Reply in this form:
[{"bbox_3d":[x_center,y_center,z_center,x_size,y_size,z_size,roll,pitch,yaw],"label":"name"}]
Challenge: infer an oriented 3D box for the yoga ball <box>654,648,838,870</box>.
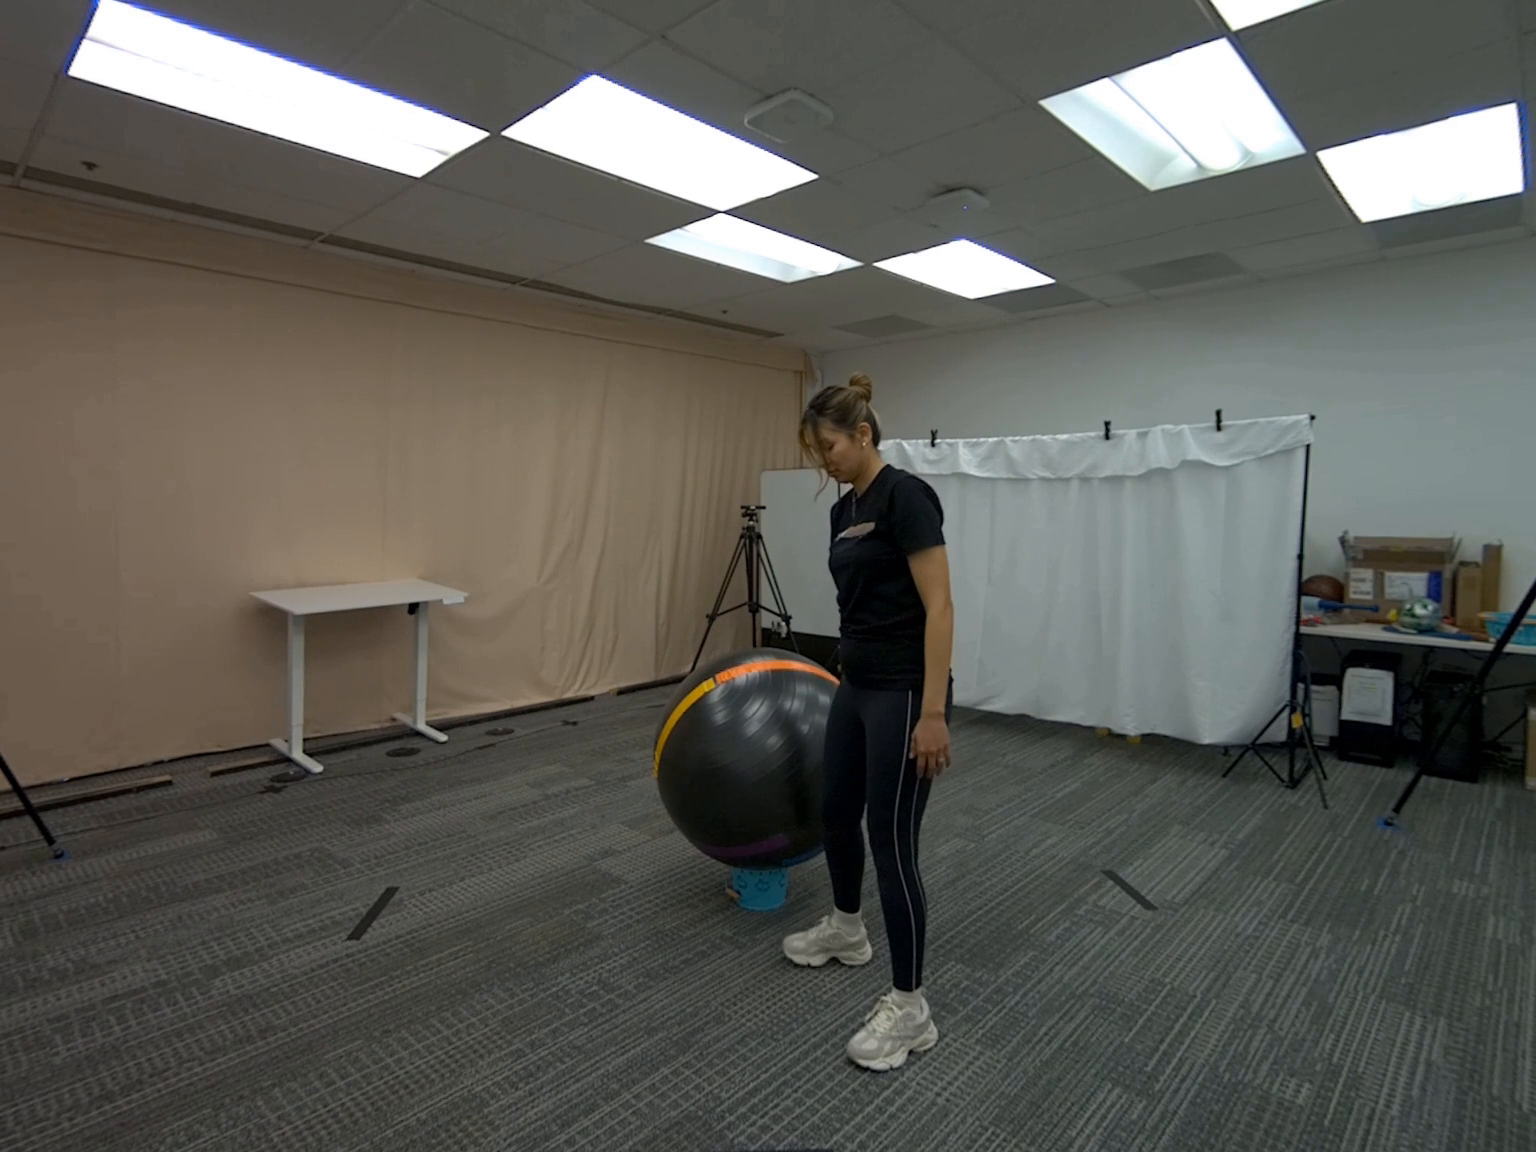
[{"bbox_3d":[-0.026,0.633,2.964,0.757,0.756,0.761,0,4,-2],"label":"yoga ball"}]
